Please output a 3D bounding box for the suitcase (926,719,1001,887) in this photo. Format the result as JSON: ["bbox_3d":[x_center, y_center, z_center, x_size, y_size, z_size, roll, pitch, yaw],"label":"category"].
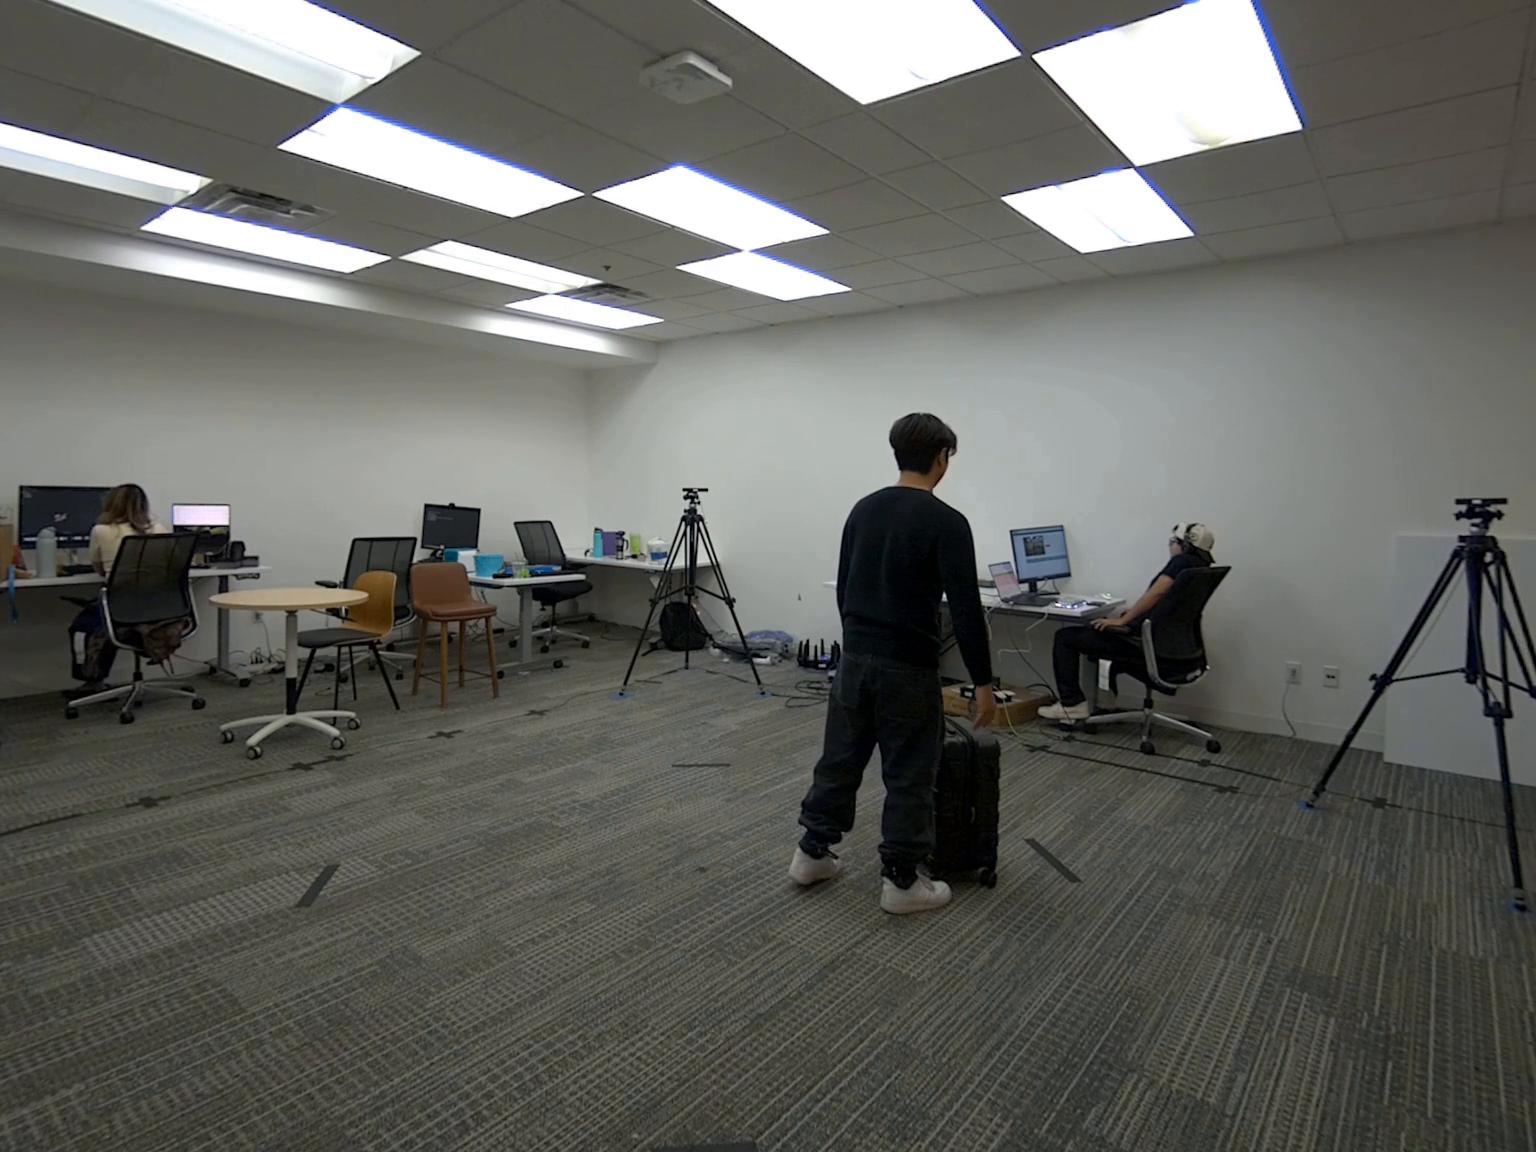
[{"bbox_3d":[0.672,0.806,3.171,0.246,0.548,0.381,2,4,-11],"label":"suitcase"}]
